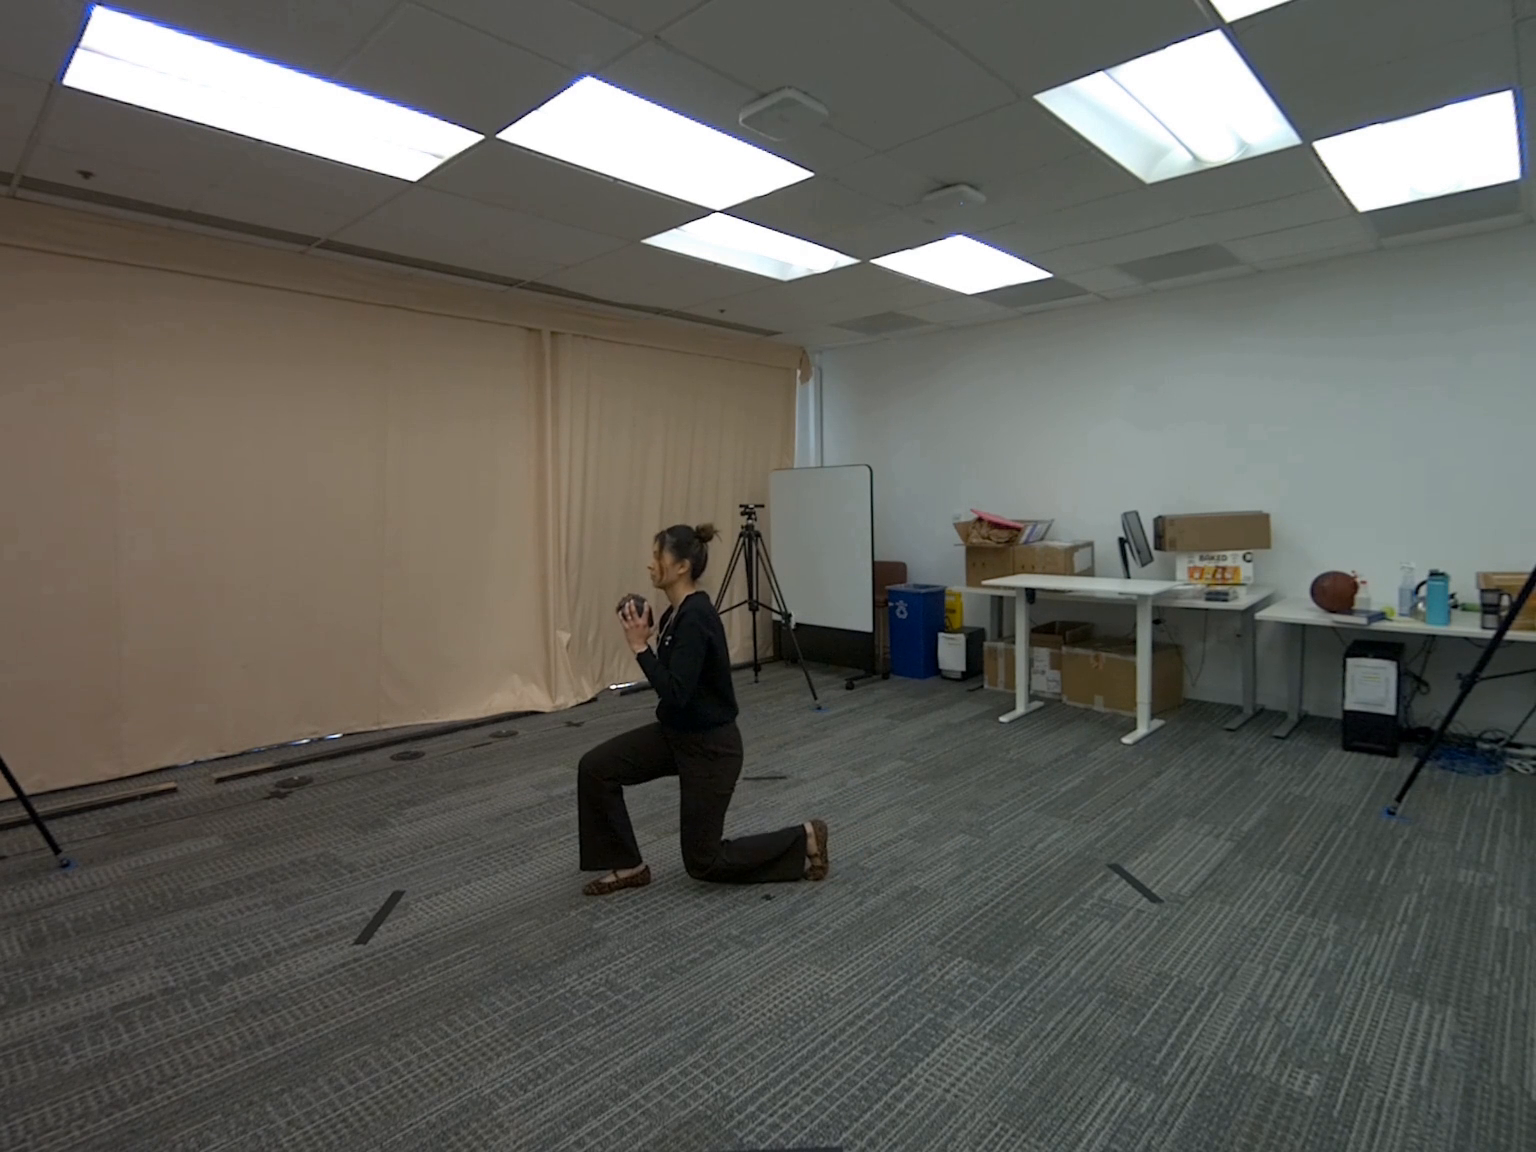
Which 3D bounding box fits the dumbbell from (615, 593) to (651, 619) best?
[{"bbox_3d":[-0.453,0.129,3.061,0.122,0.109,0.295,22,0,-6],"label":"dumbbell"}]
